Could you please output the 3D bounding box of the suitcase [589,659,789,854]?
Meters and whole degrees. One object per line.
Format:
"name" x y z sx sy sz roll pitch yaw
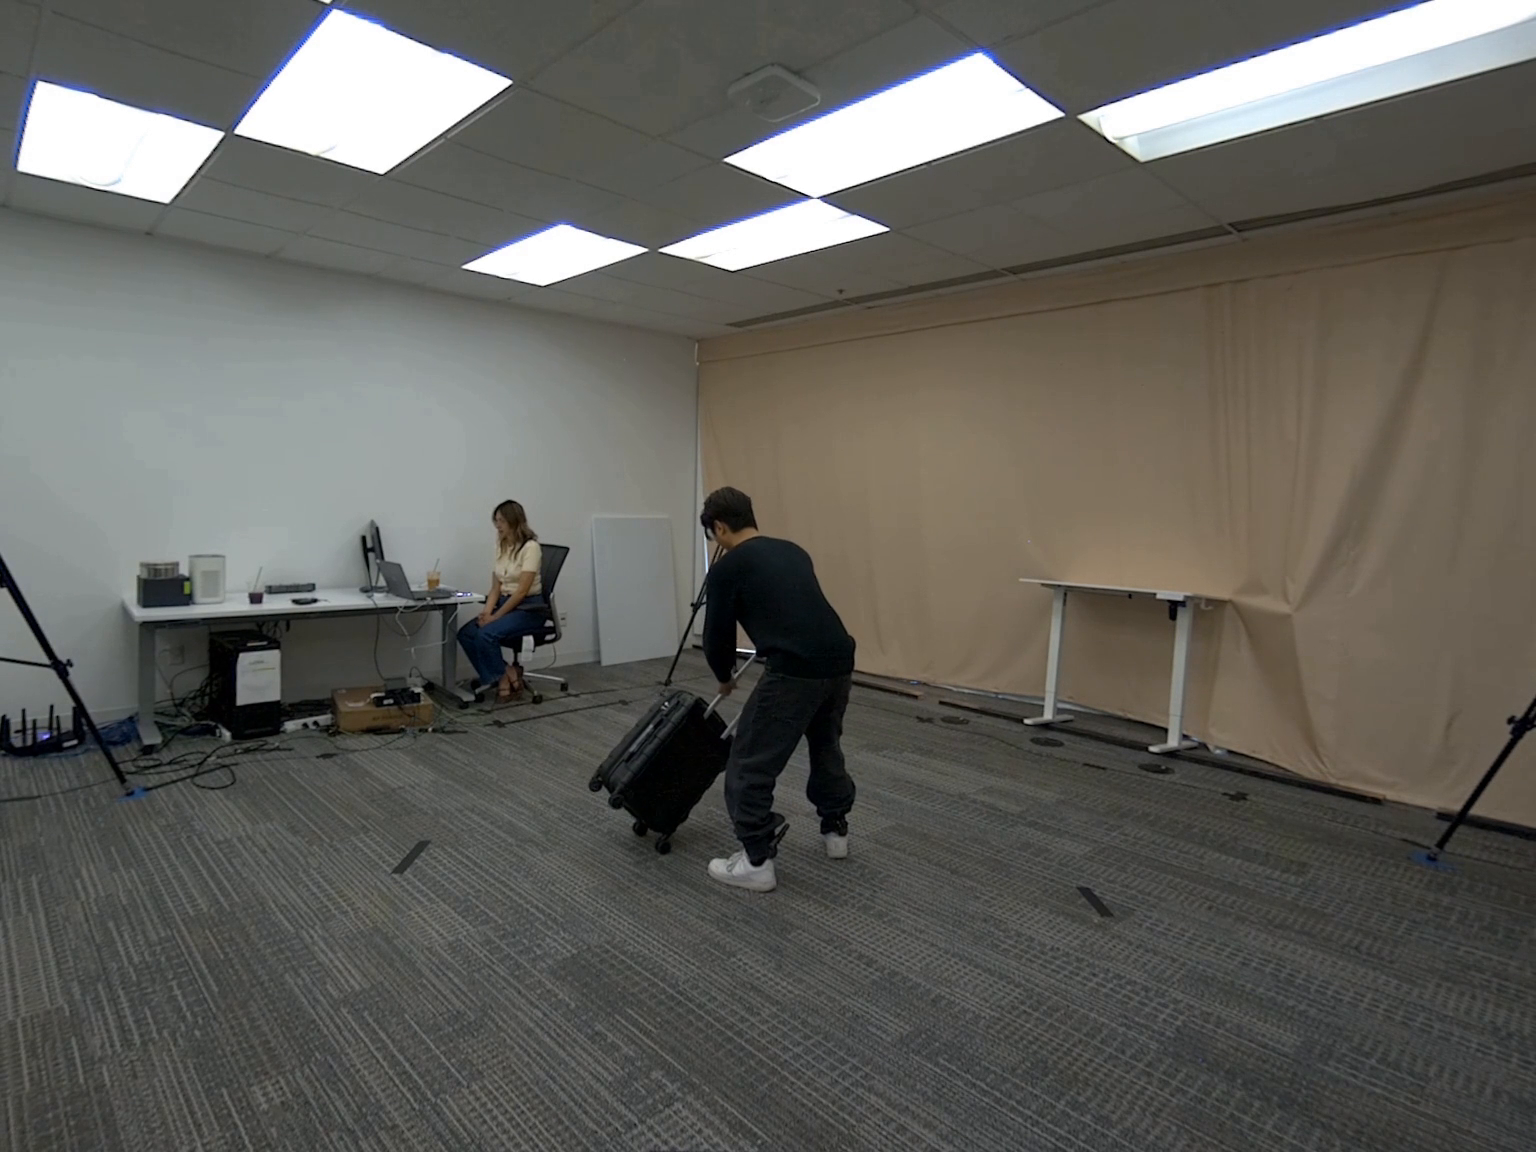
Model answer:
"suitcase" -0.295 0.605 3.478 0.375 0.979 0.263 50 -23 -25
